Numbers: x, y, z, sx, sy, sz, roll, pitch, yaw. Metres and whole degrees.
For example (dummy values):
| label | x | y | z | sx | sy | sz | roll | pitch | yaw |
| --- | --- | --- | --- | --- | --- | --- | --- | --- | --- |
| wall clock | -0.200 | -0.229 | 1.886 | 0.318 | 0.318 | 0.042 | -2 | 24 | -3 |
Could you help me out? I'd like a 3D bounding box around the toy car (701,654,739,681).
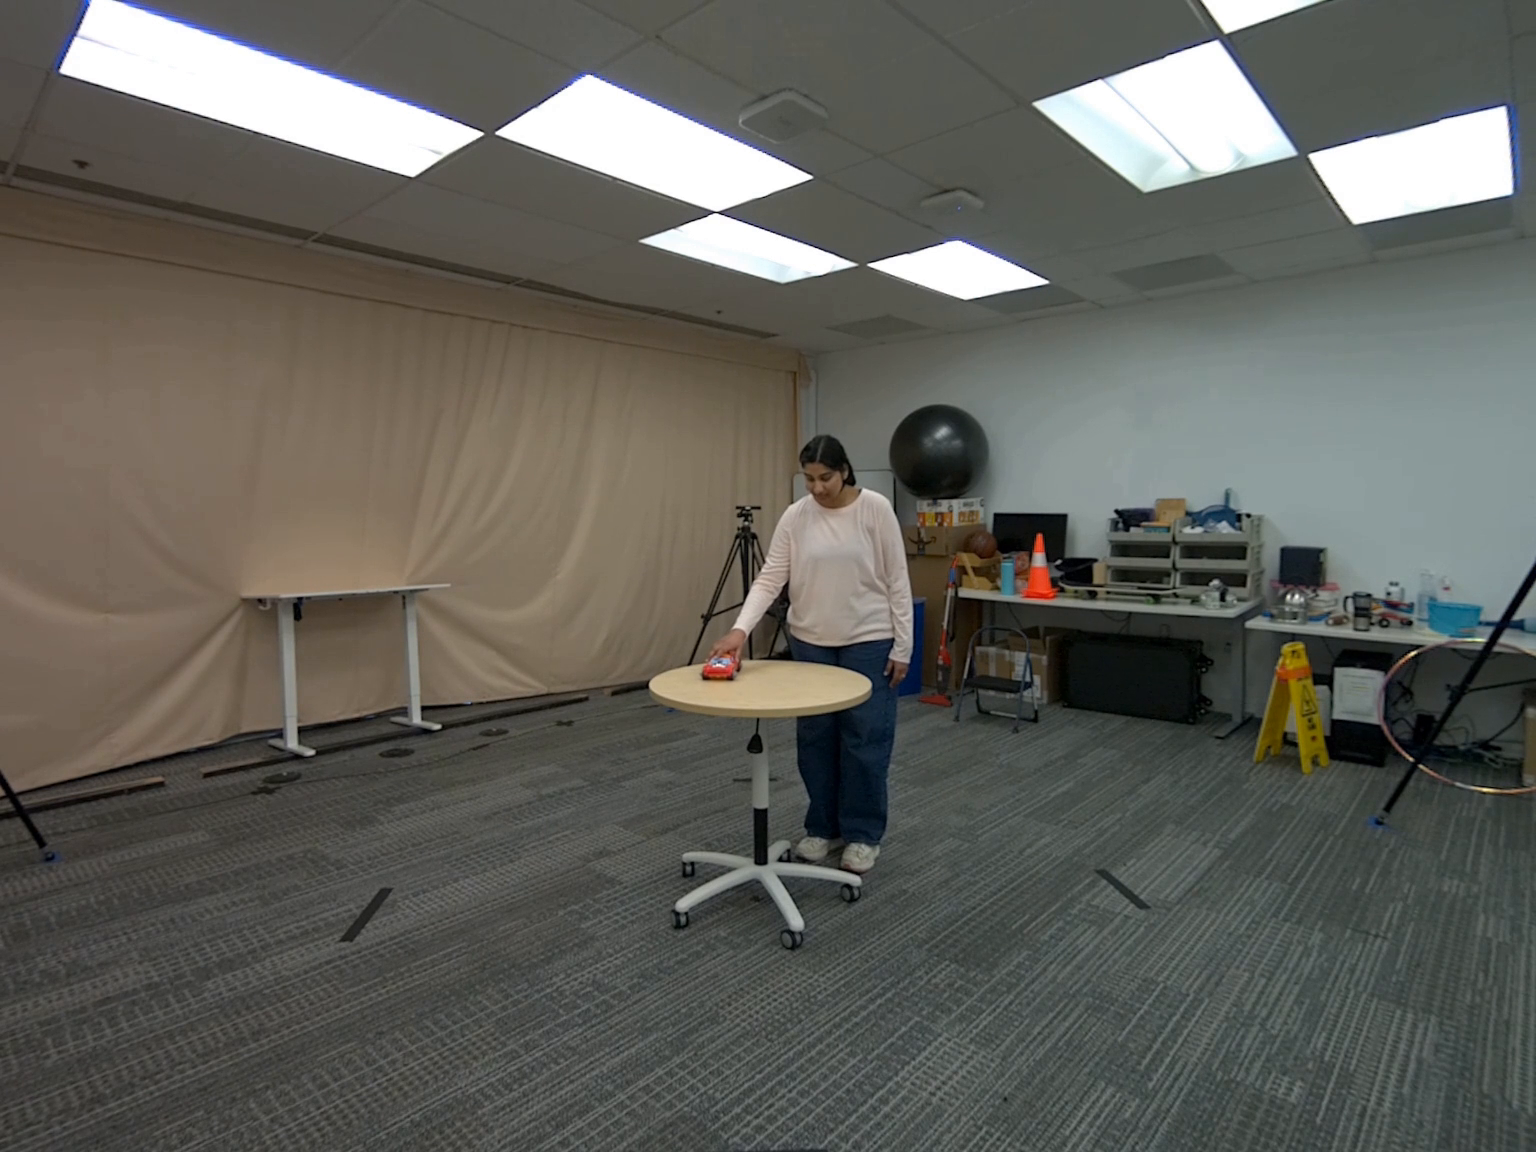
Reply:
| label | x | y | z | sx | sy | sz | roll | pitch | yaw |
| --- | --- | --- | --- | --- | --- | --- | --- | --- | --- |
| toy car | -0.158 | 0.325 | 3.042 | 0.131 | 0.082 | 0.255 | -2 | 16 | 6 |
